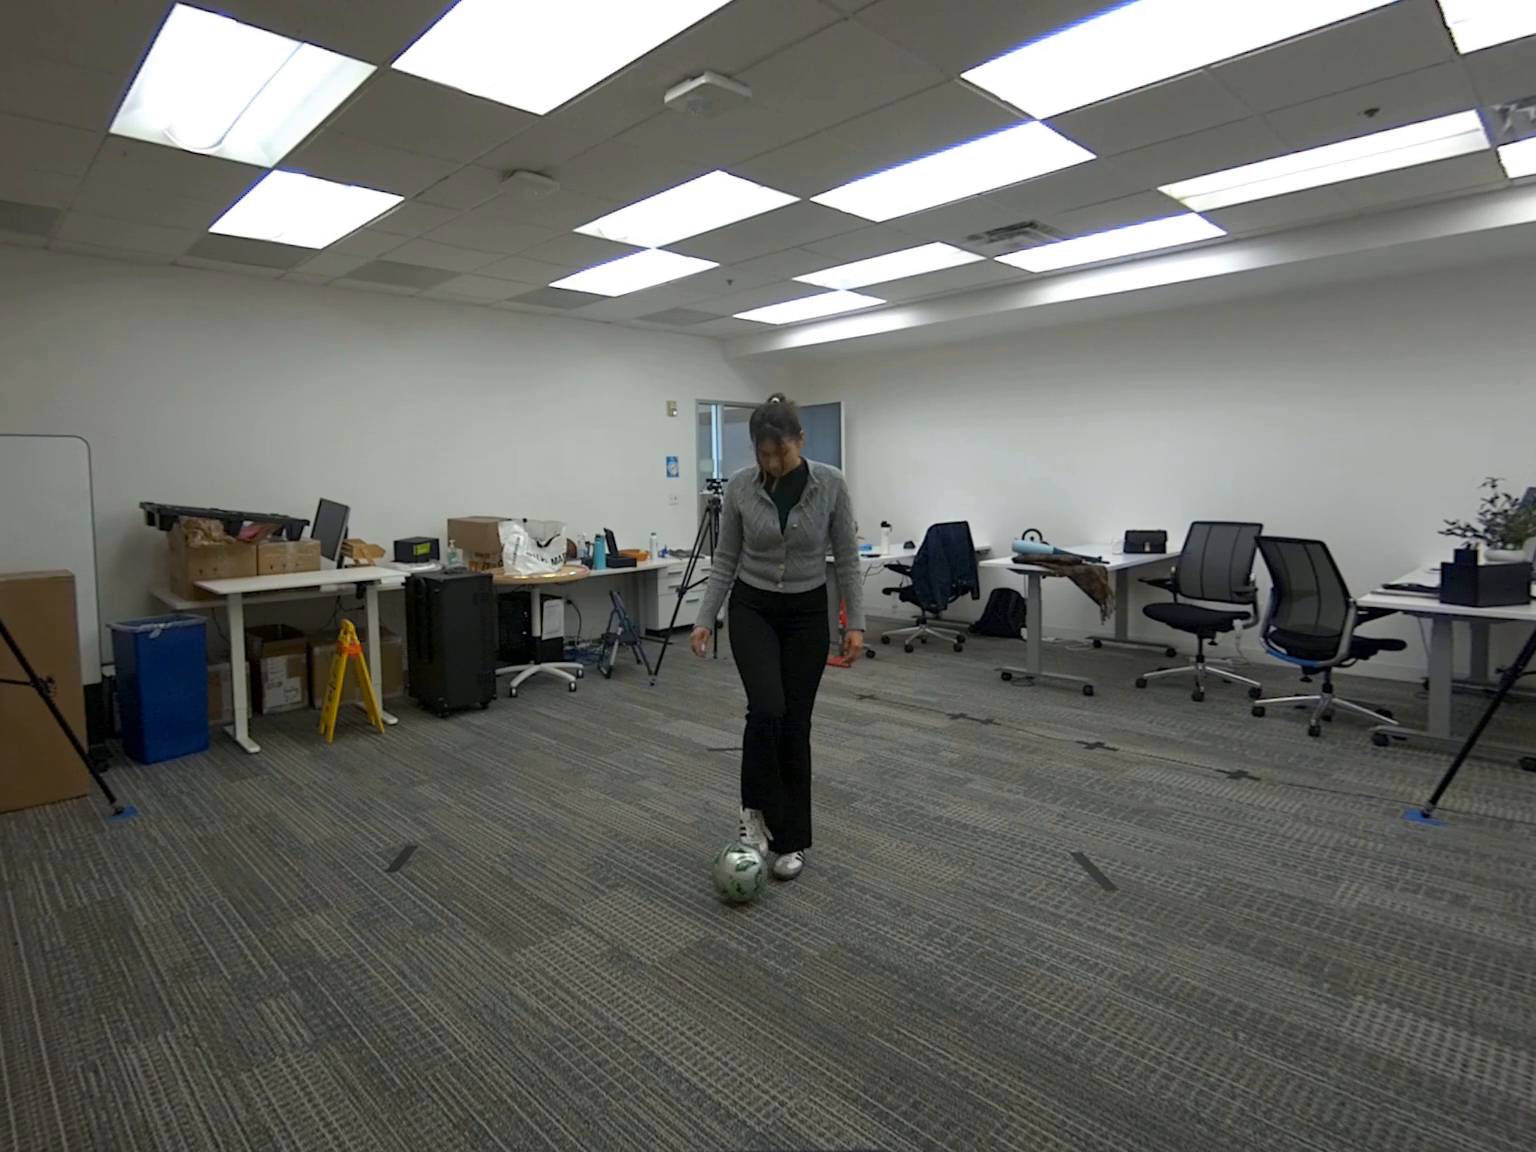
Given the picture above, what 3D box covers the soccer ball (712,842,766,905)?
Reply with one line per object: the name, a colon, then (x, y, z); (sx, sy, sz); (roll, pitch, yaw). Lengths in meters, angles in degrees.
soccer ball: (-0.095, 0.989, 2.835); (0.187, 0.187, 0.188); (-1, 5, -2)
